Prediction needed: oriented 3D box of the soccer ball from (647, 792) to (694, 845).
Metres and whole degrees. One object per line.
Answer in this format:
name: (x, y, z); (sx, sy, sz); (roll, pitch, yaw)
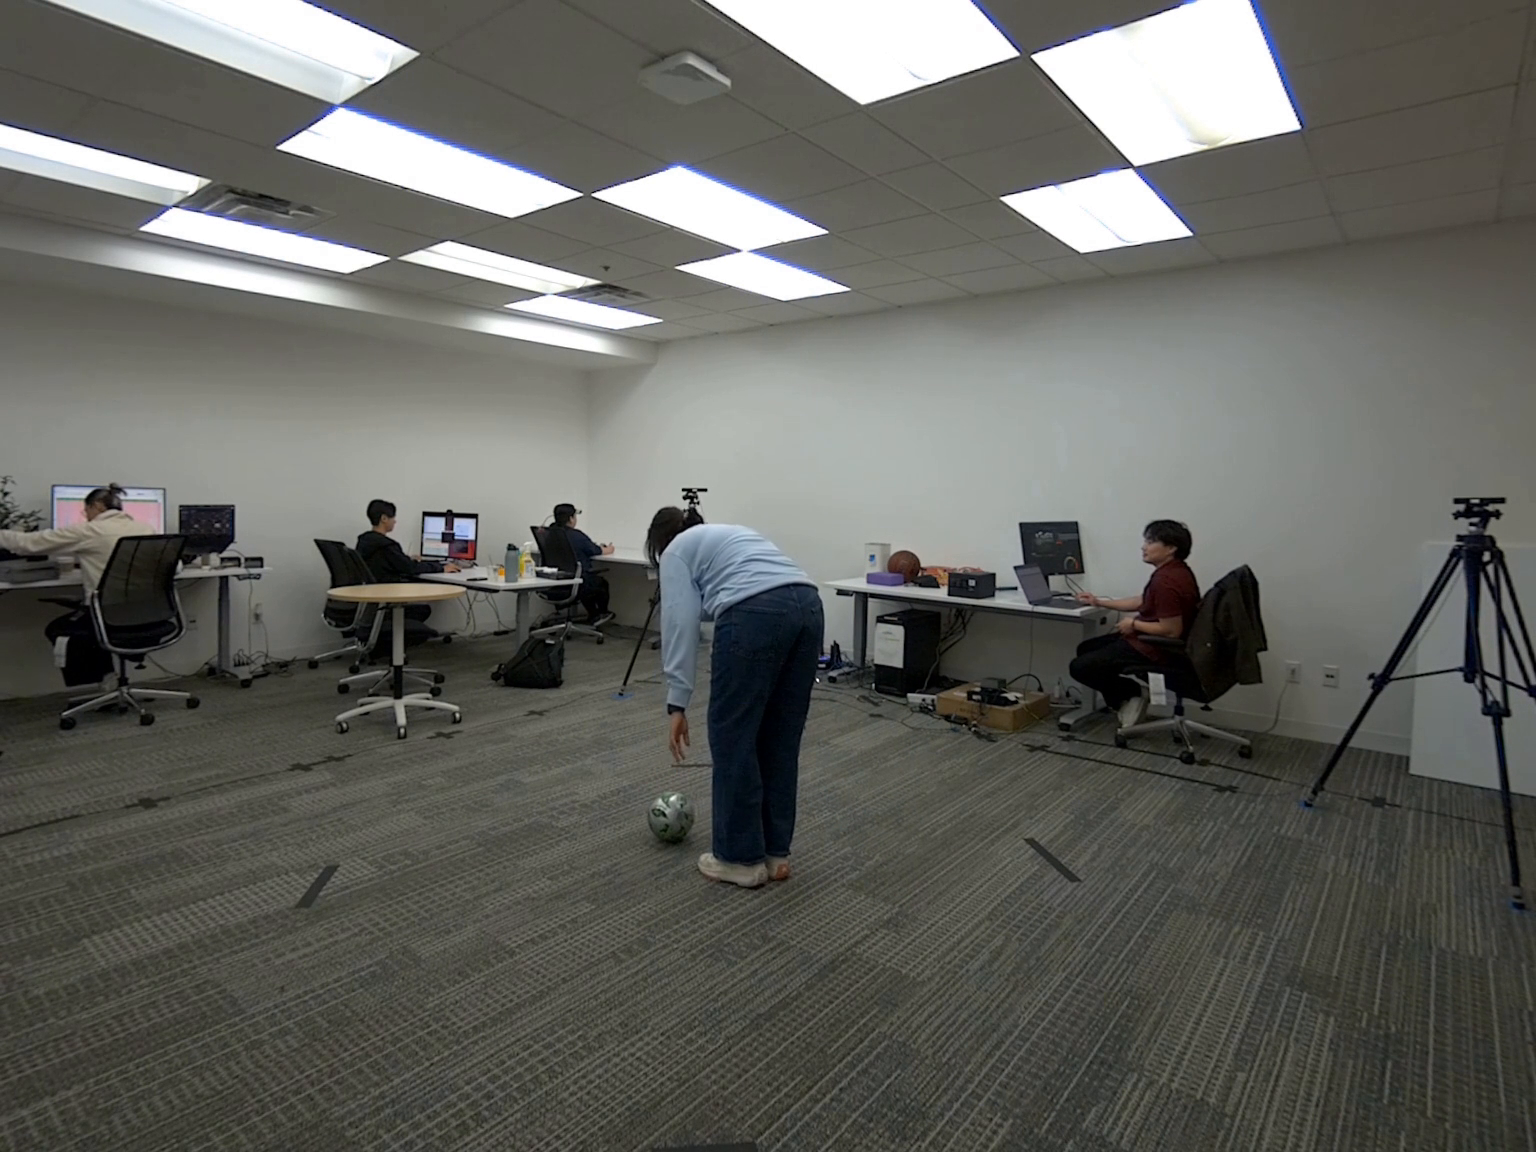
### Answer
soccer ball: (-0.391, 0.947, 3.369); (0.187, 0.187, 0.188); (1, 4, -2)
